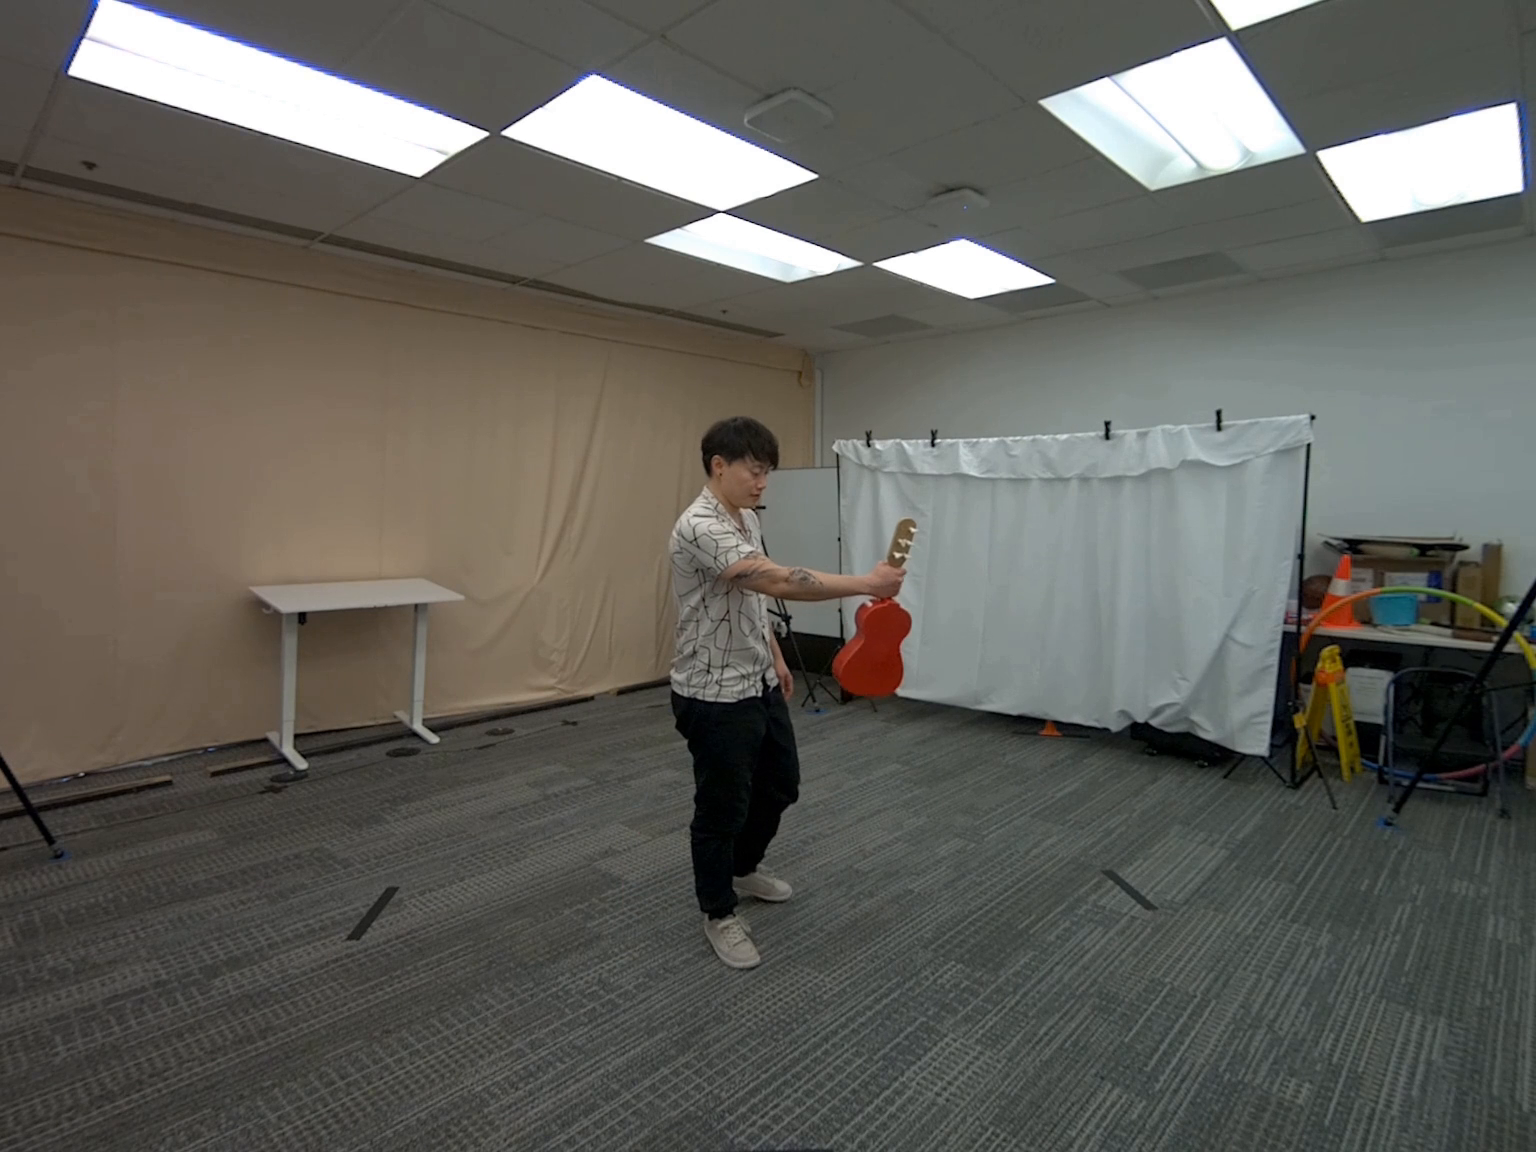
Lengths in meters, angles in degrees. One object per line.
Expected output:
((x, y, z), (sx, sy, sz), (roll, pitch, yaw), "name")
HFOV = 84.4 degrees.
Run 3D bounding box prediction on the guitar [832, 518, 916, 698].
((0.298, 0.091, 2.286), (0.190, 0.494, 0.072), (0, 16, -15), "guitar")
